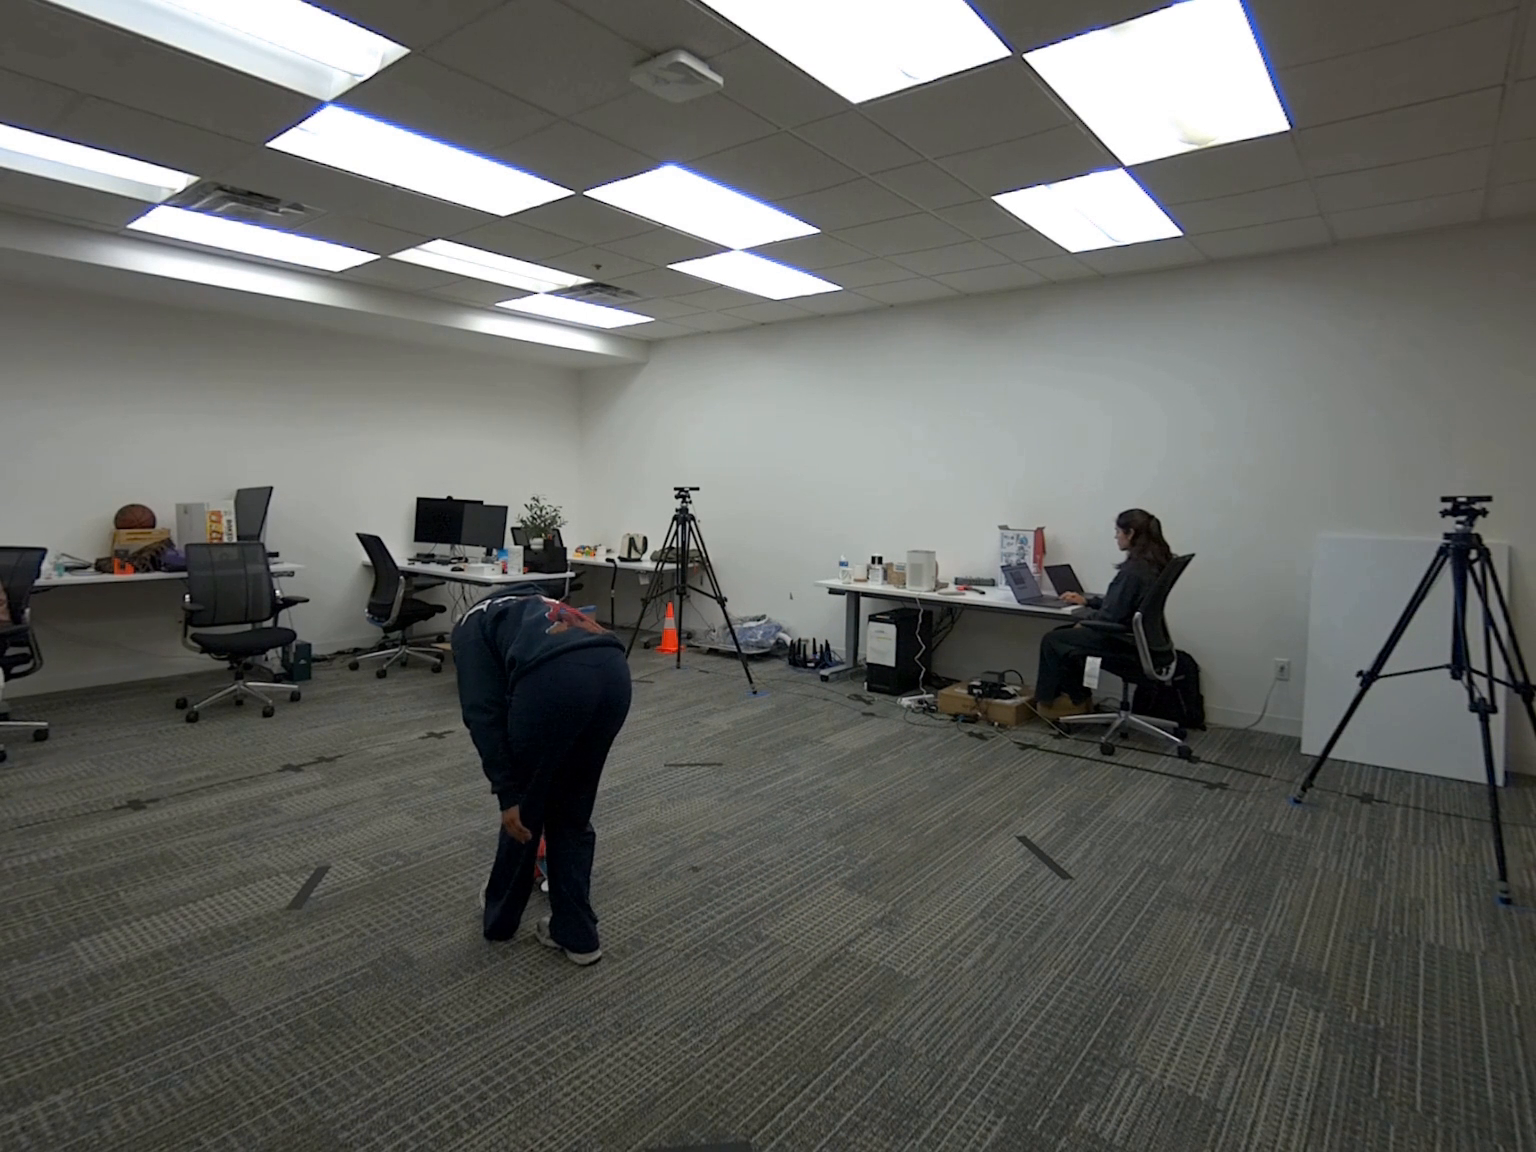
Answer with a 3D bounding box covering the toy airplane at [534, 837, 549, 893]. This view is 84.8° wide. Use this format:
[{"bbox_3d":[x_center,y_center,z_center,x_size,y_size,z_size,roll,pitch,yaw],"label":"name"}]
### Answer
[{"bbox_3d":[-0.750,0.999,2.941,0.267,0.156,0.244,3,5,33],"label":"toy airplane"}]
